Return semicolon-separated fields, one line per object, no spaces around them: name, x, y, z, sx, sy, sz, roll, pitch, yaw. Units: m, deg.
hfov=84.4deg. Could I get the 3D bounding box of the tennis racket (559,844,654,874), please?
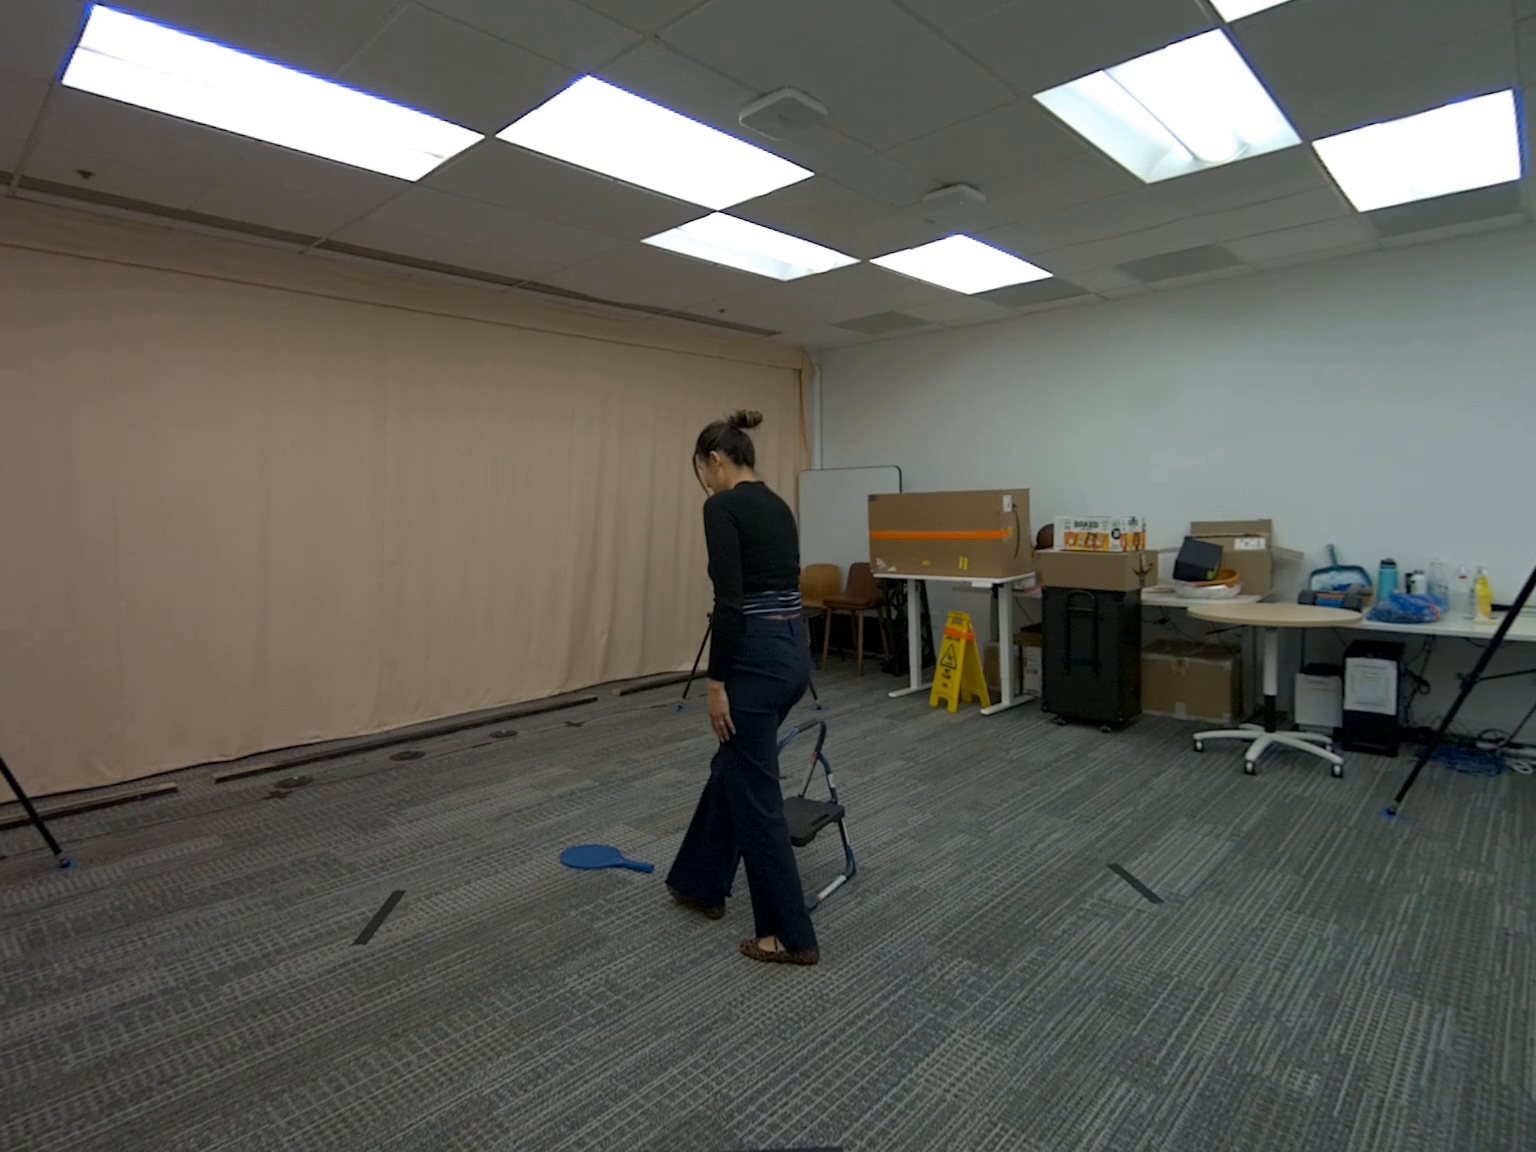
tennis racket;-0.624;1.109;3.310;0.444;0.032;0.209;0;5;27
